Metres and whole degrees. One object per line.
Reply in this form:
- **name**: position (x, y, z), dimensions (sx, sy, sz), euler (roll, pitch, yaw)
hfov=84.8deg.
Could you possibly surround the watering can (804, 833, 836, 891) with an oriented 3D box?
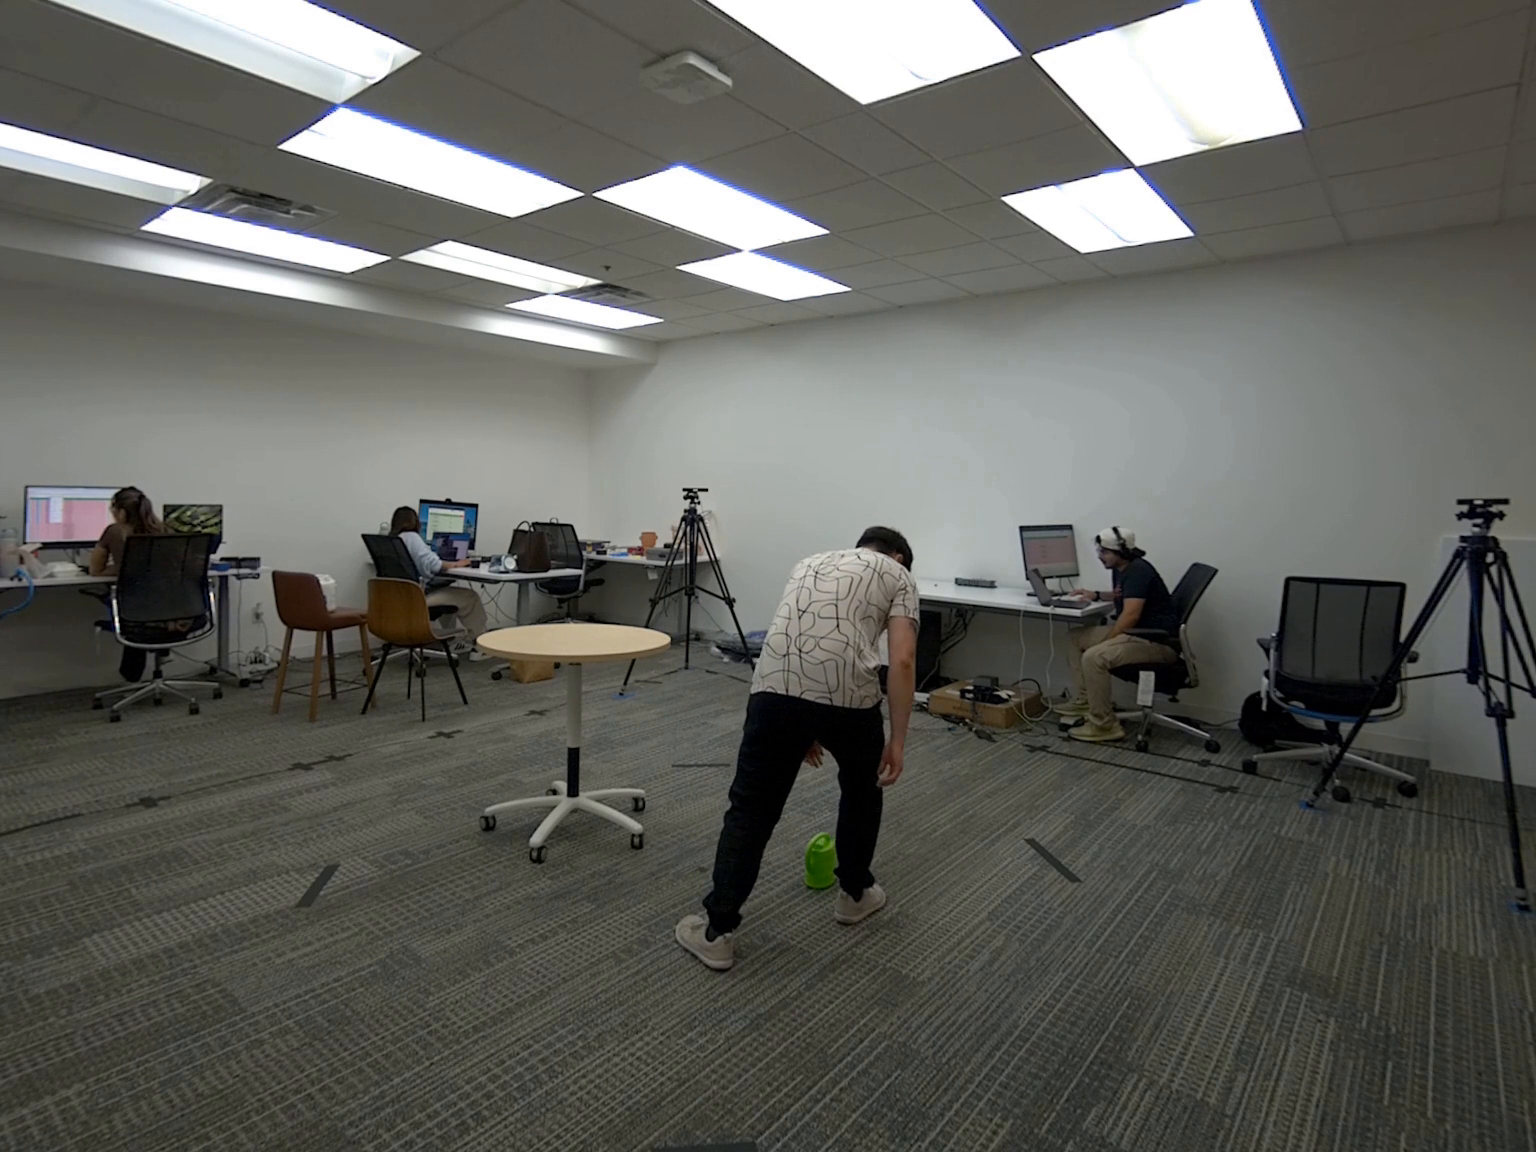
- **watering can**: position (0.216, 0.992, 3.047), dimensions (0.270, 0.176, 0.101), euler (-6, 8, -40)
